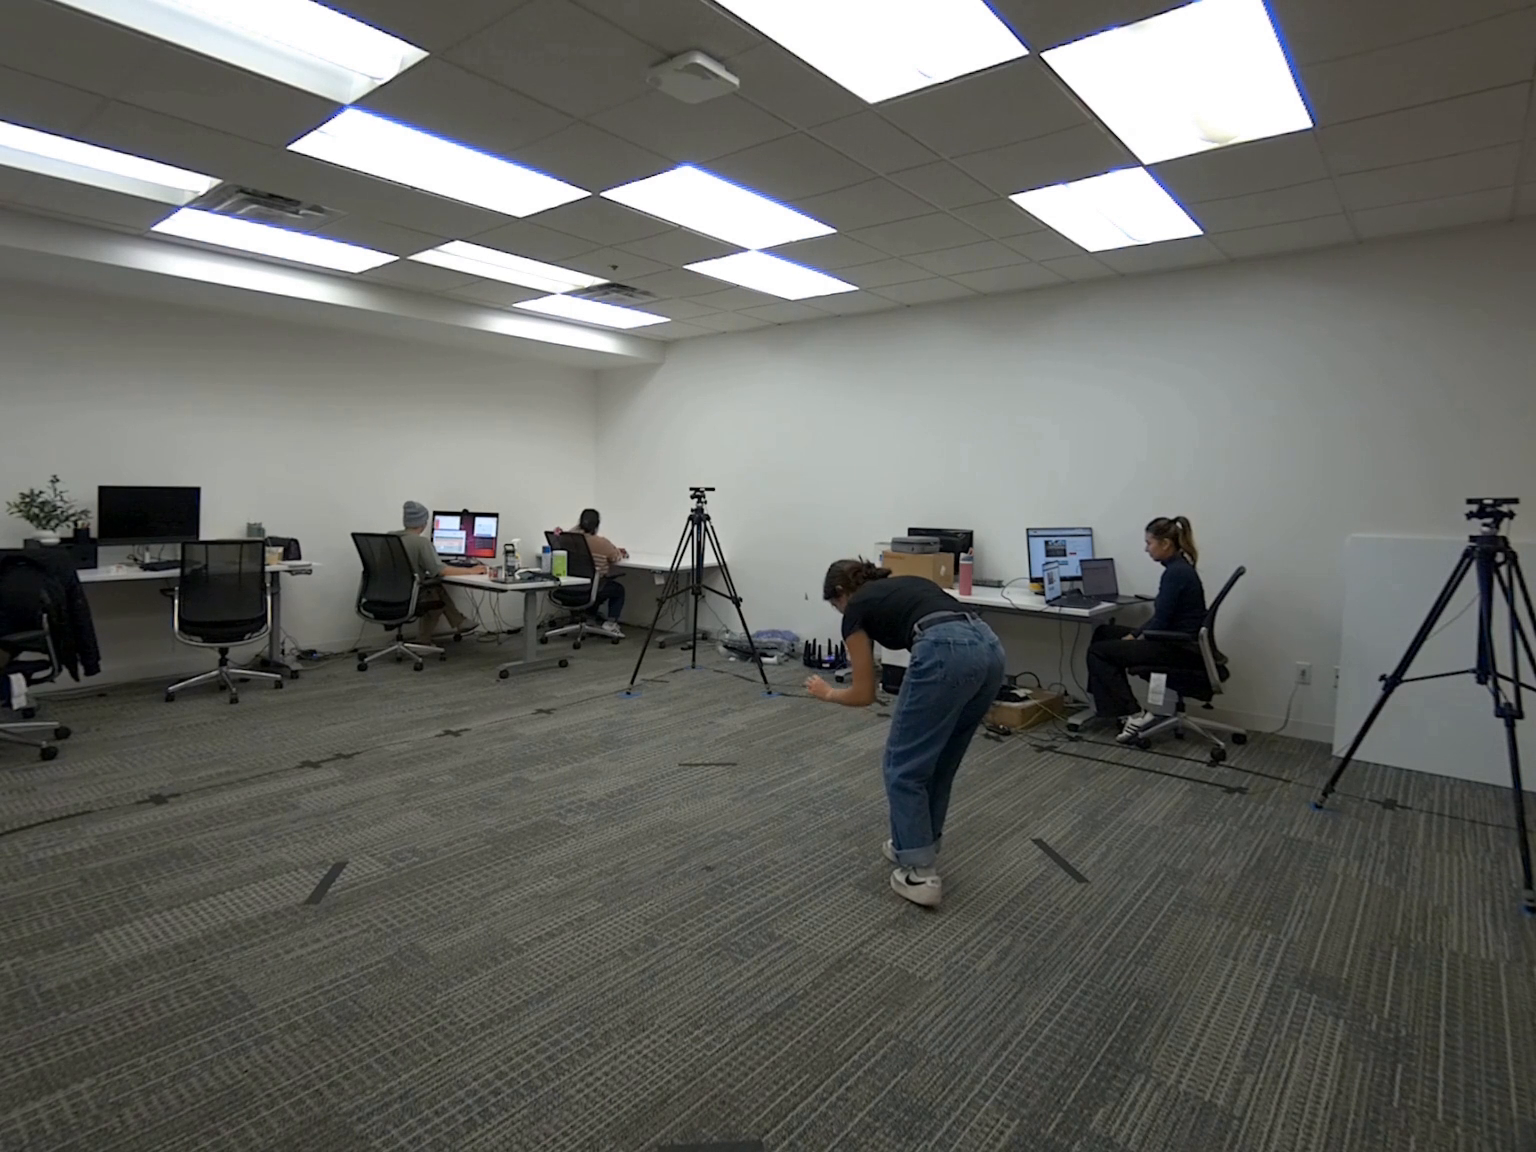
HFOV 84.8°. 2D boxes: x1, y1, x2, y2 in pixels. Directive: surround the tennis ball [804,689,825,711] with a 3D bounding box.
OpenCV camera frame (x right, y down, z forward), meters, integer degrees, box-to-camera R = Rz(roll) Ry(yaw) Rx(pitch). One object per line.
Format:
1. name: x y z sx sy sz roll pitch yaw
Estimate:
1. tennis ball: 0.182 0.491 3.328 0.066 0.066 0.067 1 4 -2
